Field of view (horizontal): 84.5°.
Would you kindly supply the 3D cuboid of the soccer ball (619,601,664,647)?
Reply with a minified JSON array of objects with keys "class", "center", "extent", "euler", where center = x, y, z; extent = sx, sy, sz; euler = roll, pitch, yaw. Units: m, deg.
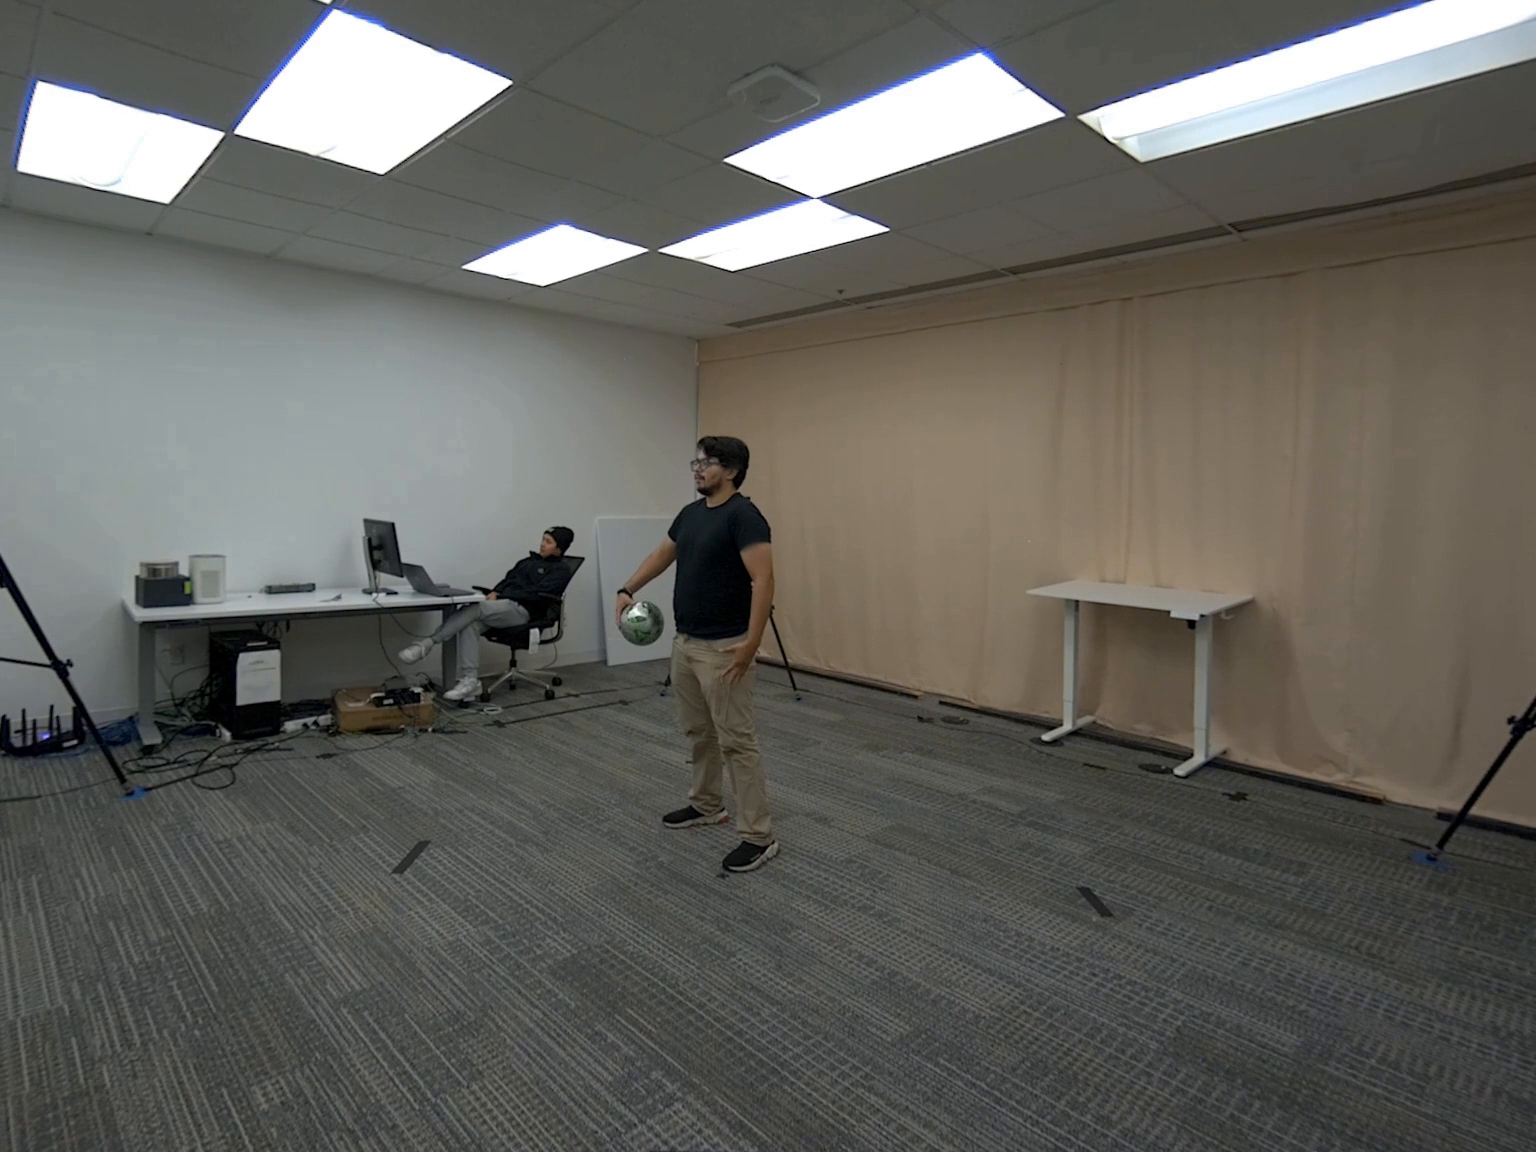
[{"class":"soccer ball","center":[-0.528,0.189,3.535],"extent":[0.187,0.187,0.188],"euler":[1,4,-1]}]
